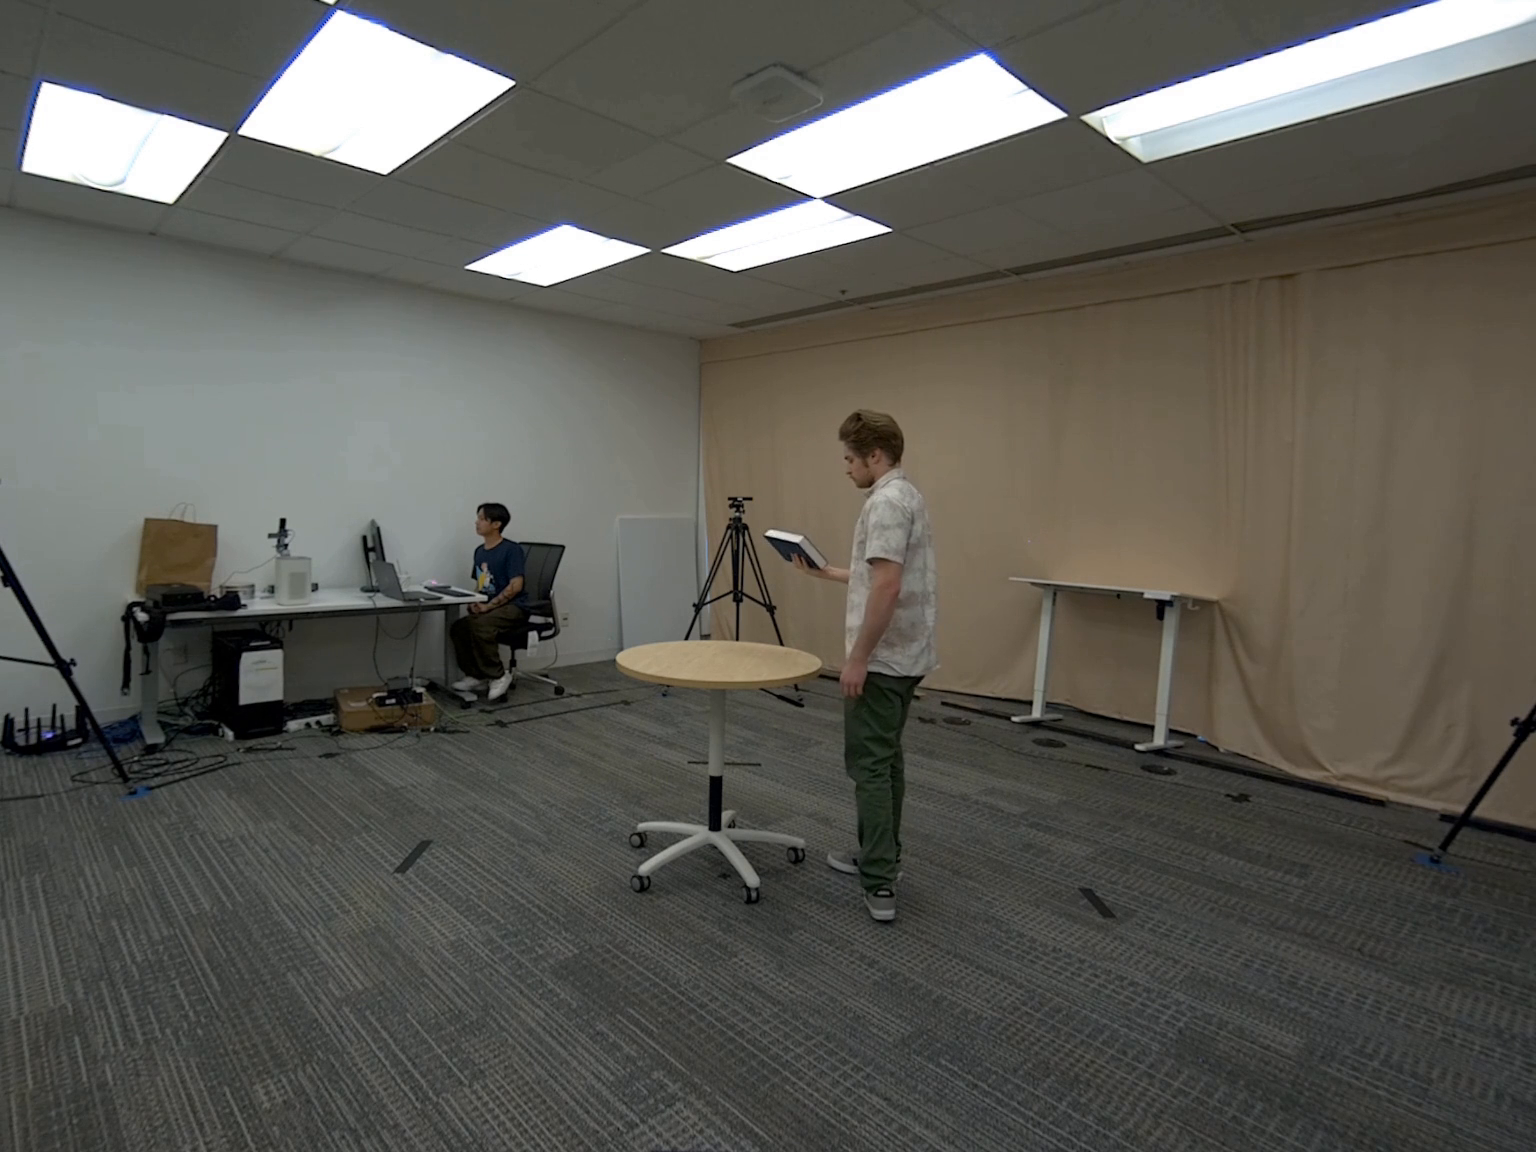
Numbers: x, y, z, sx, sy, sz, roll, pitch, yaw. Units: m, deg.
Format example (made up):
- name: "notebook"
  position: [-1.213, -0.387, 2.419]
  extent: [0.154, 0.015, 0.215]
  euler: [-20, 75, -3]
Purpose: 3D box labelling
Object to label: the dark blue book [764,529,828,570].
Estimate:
- name: "dark blue book"
  position: [0.095, -0.107, 3.276]
  extent: [0.159, 0.045, 0.251]
  euler: [49, -16, -29]
